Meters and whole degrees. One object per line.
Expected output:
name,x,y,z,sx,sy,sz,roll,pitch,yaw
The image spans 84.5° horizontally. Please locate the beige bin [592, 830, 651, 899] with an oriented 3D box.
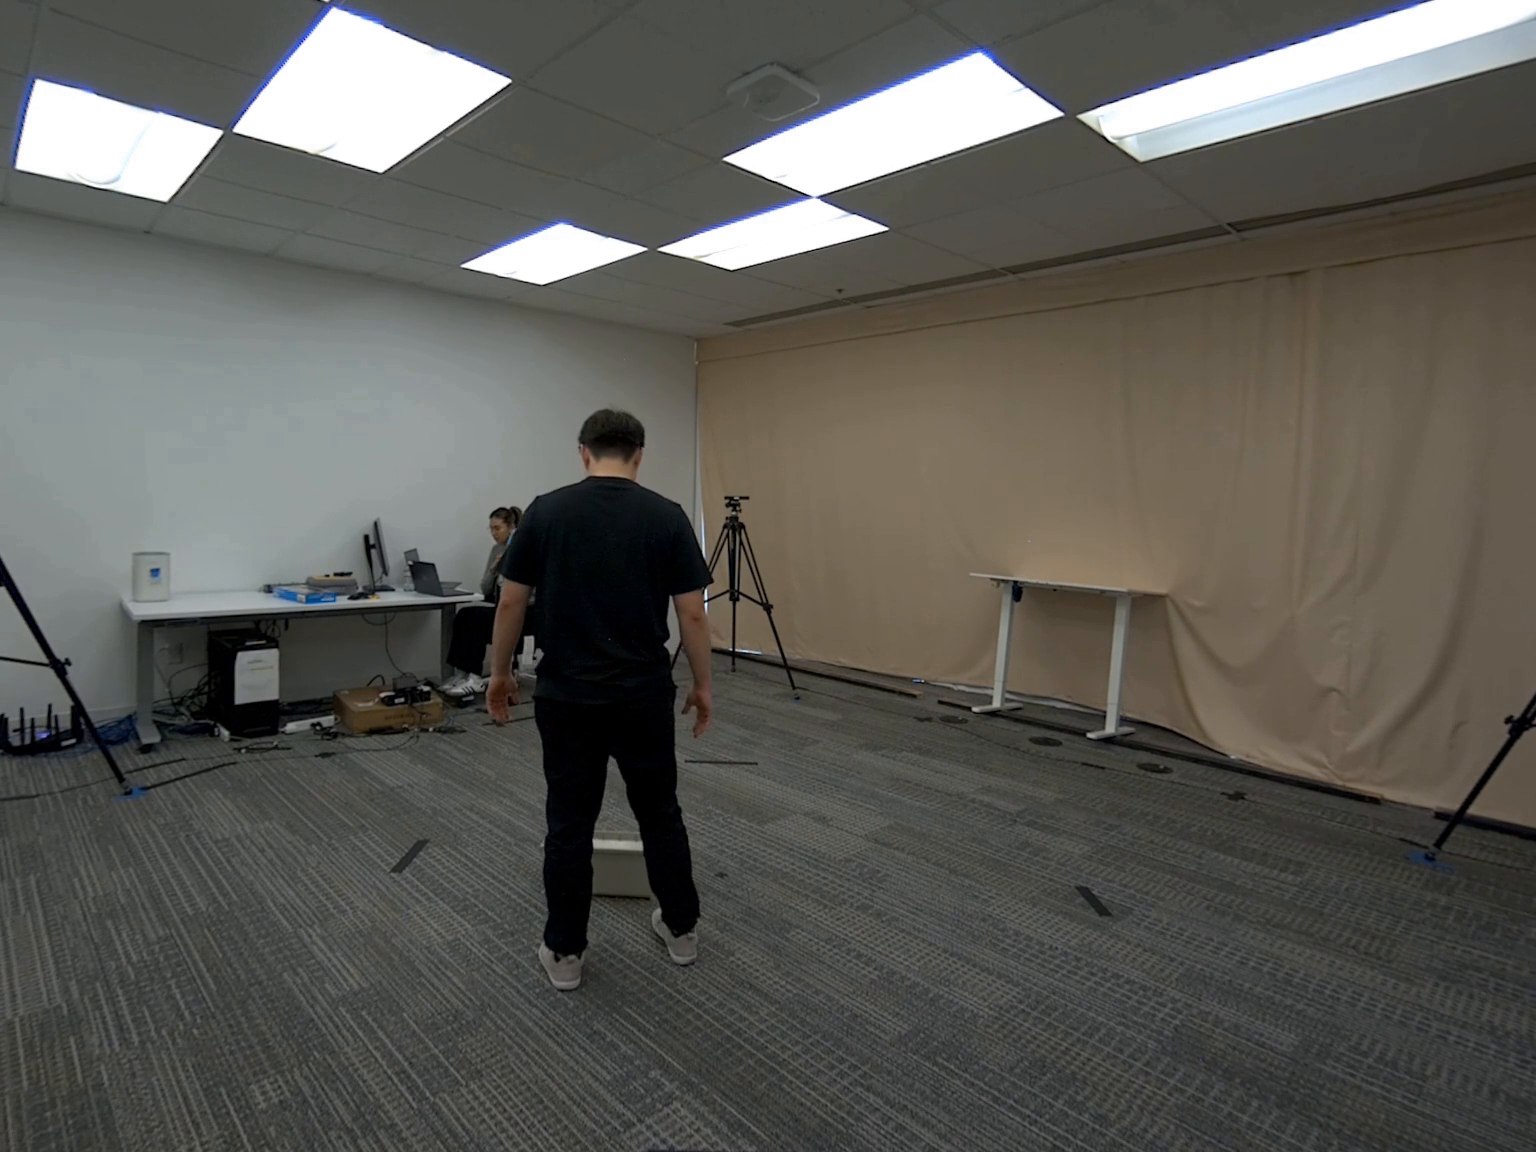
beige bin,-0.582,1.018,3.081,0.423,0.188,0.378,2,5,1
